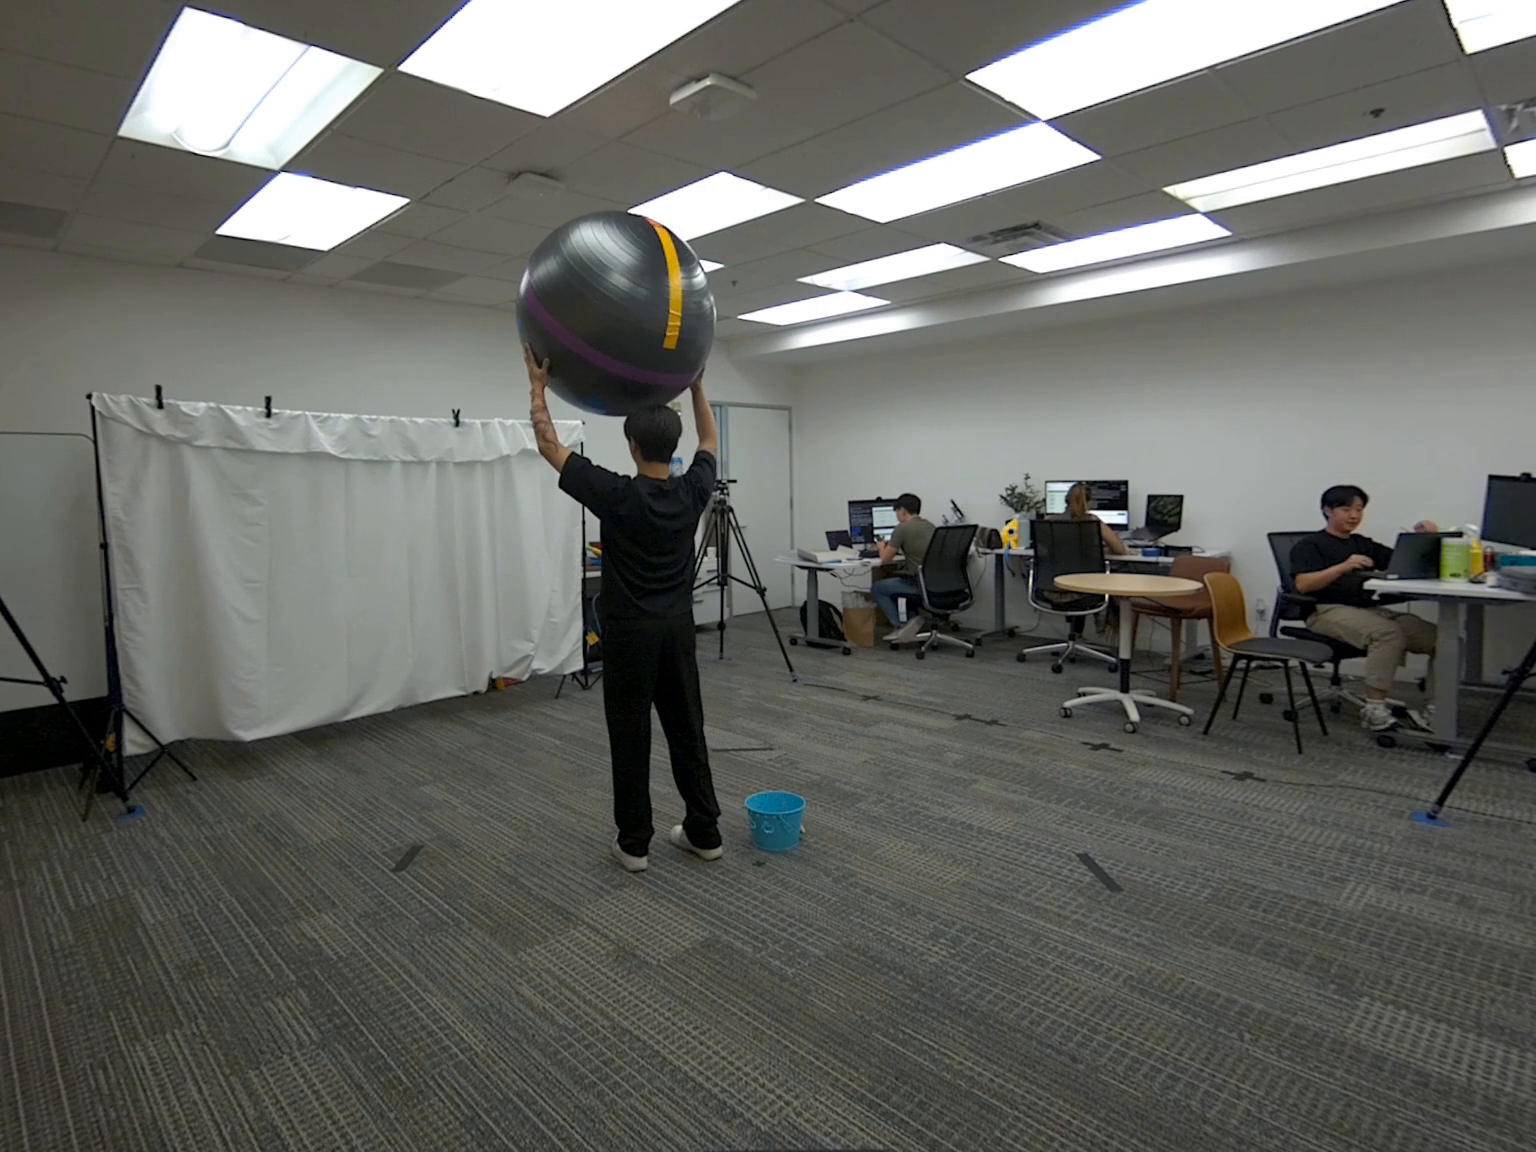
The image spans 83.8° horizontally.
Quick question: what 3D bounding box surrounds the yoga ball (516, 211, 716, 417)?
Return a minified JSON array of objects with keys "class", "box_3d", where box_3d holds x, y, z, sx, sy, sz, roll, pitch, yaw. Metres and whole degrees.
[{"class":"yoga ball","box_3d":[-0.579,-0.992,3.272,0.757,0.755,0.762,-1,5,-2]}]
